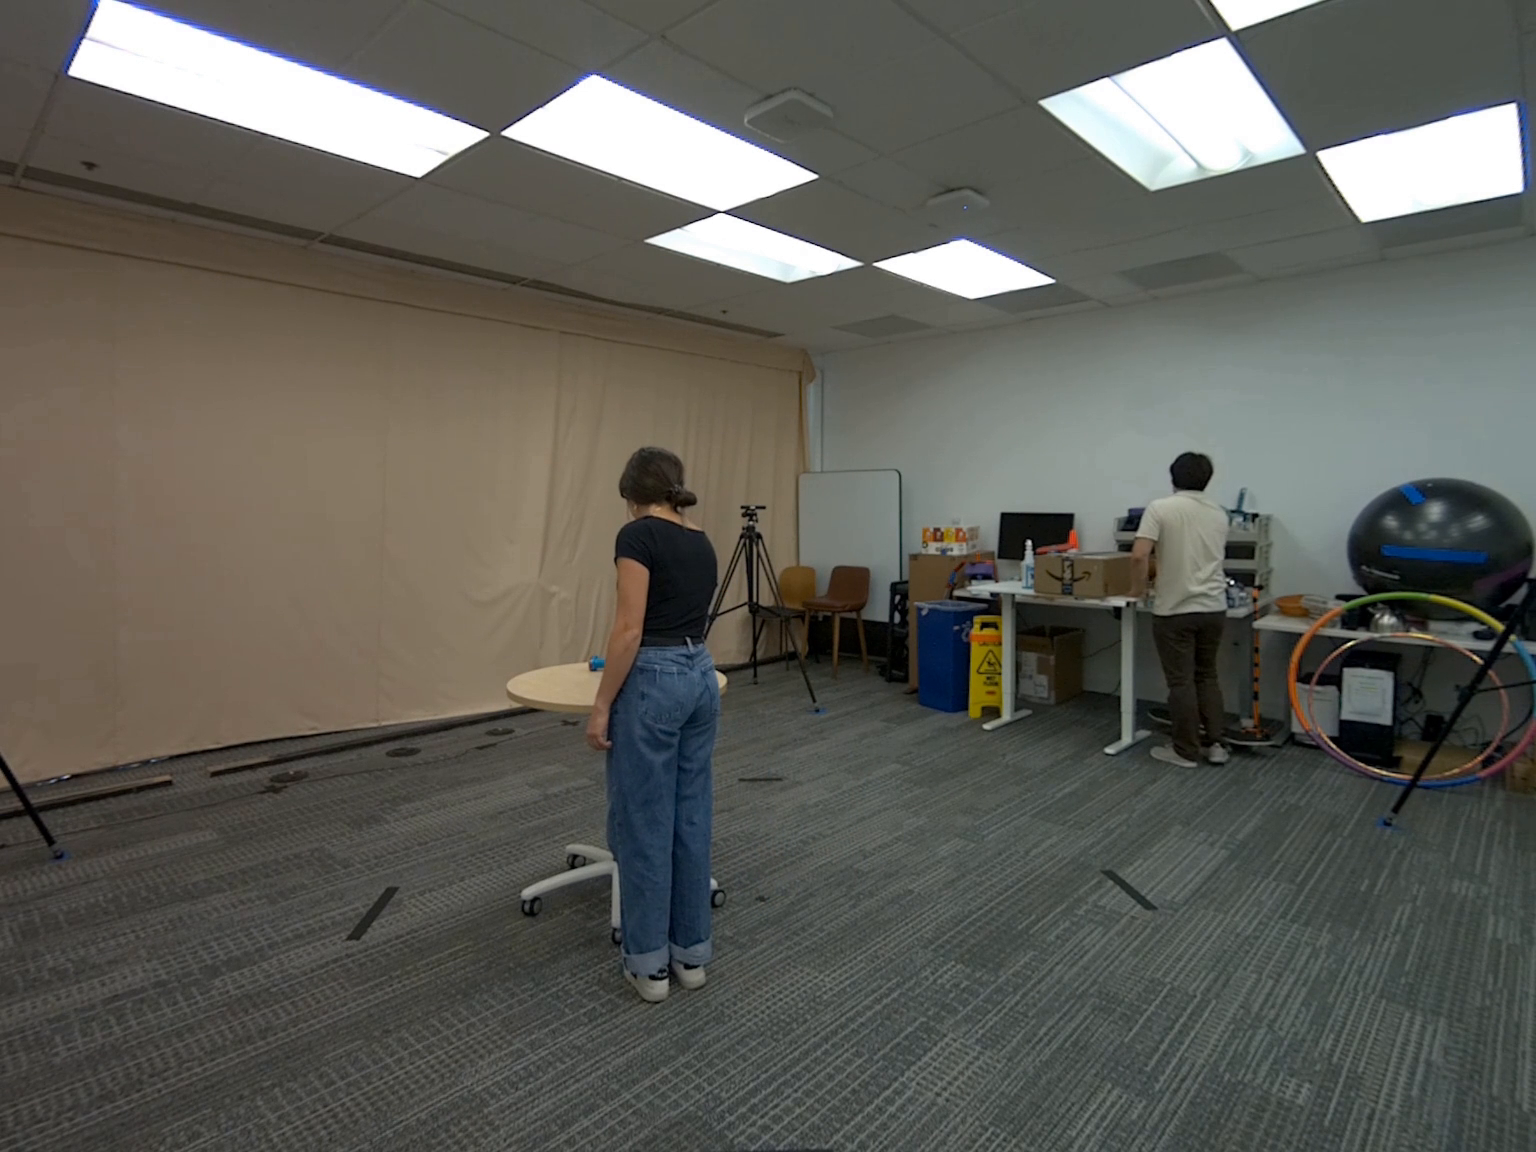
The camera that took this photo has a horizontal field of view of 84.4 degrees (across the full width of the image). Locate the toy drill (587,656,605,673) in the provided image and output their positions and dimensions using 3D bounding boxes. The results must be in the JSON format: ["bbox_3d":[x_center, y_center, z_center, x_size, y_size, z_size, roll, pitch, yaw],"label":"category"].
[{"bbox_3d":[-0.581,0.320,3.164,0.147,0.061,0.169,-1,12,8],"label":"toy drill"}]
